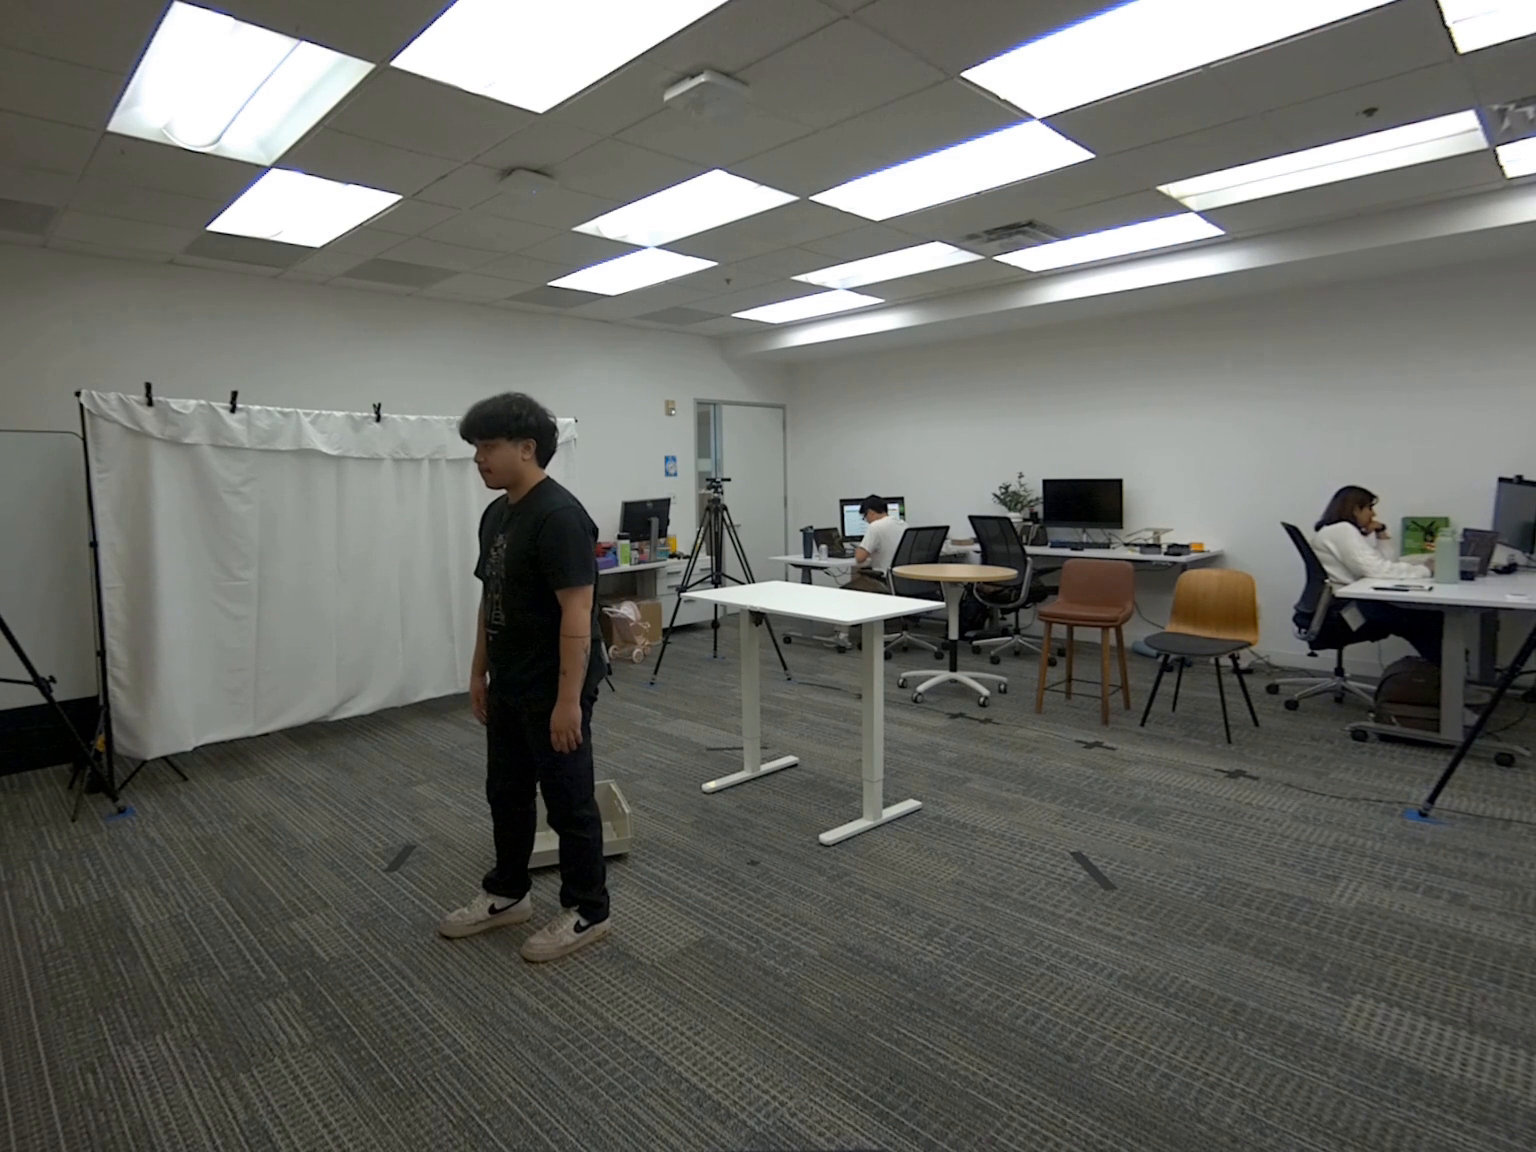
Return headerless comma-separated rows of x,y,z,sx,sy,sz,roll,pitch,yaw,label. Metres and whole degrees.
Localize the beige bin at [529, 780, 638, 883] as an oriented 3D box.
-0.750,0.953,3.241,0.415,0.188,0.385,-4,6,-20,beige bin
